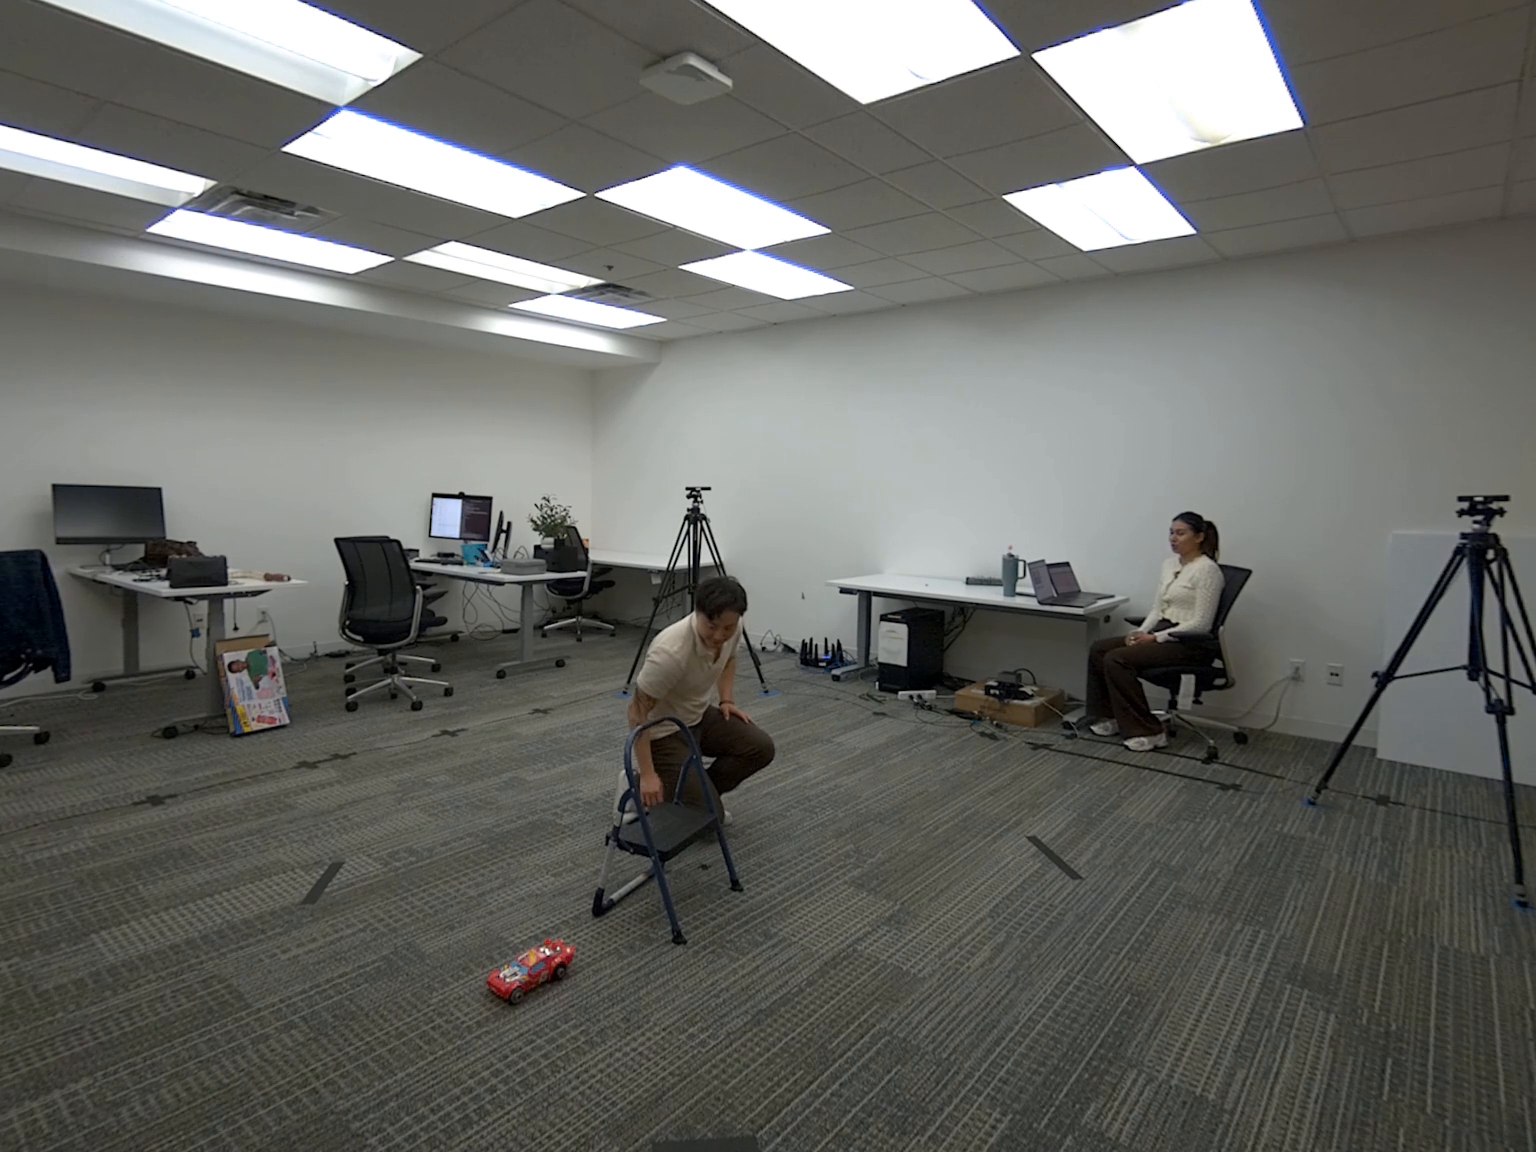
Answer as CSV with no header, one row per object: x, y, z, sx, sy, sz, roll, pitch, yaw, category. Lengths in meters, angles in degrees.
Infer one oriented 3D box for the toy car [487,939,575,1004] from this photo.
-0.667,1.102,2.381,0.135,0.082,0.249,4,17,39,toy car
